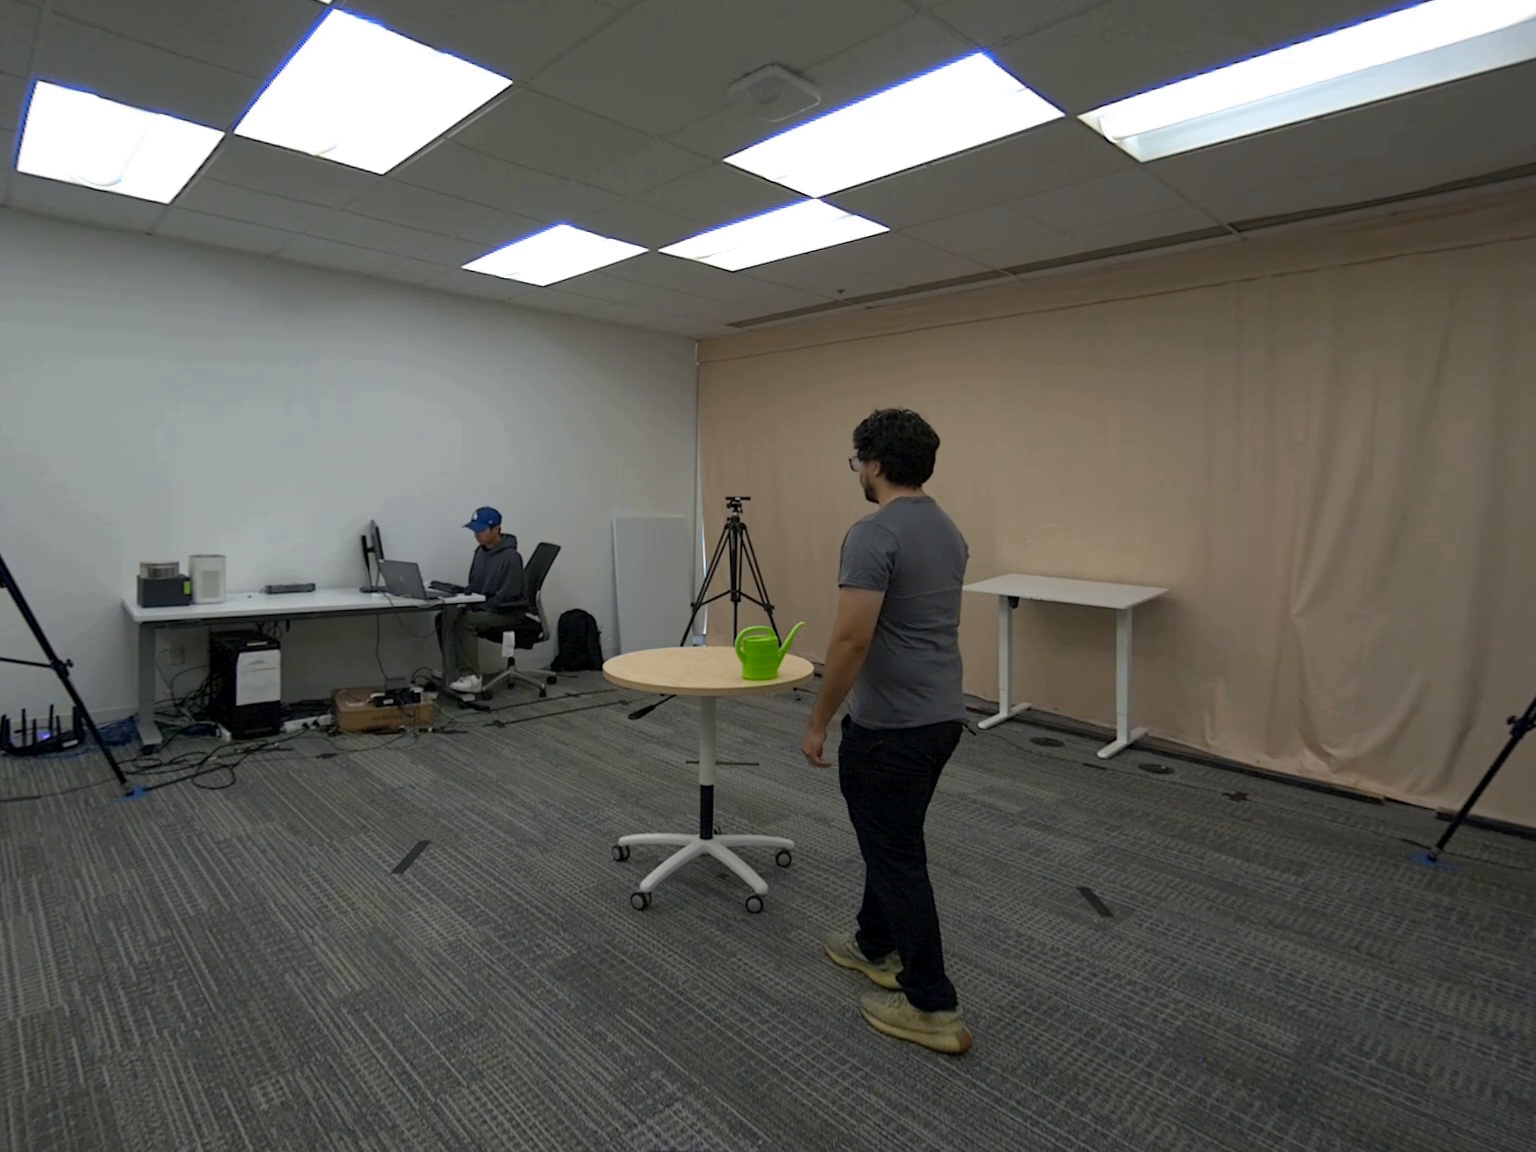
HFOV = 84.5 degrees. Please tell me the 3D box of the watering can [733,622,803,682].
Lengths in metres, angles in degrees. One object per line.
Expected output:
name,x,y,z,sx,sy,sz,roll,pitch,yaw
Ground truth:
watering can,0.009,0.258,2.871,0.275,0.176,0.099,-2,4,-16
